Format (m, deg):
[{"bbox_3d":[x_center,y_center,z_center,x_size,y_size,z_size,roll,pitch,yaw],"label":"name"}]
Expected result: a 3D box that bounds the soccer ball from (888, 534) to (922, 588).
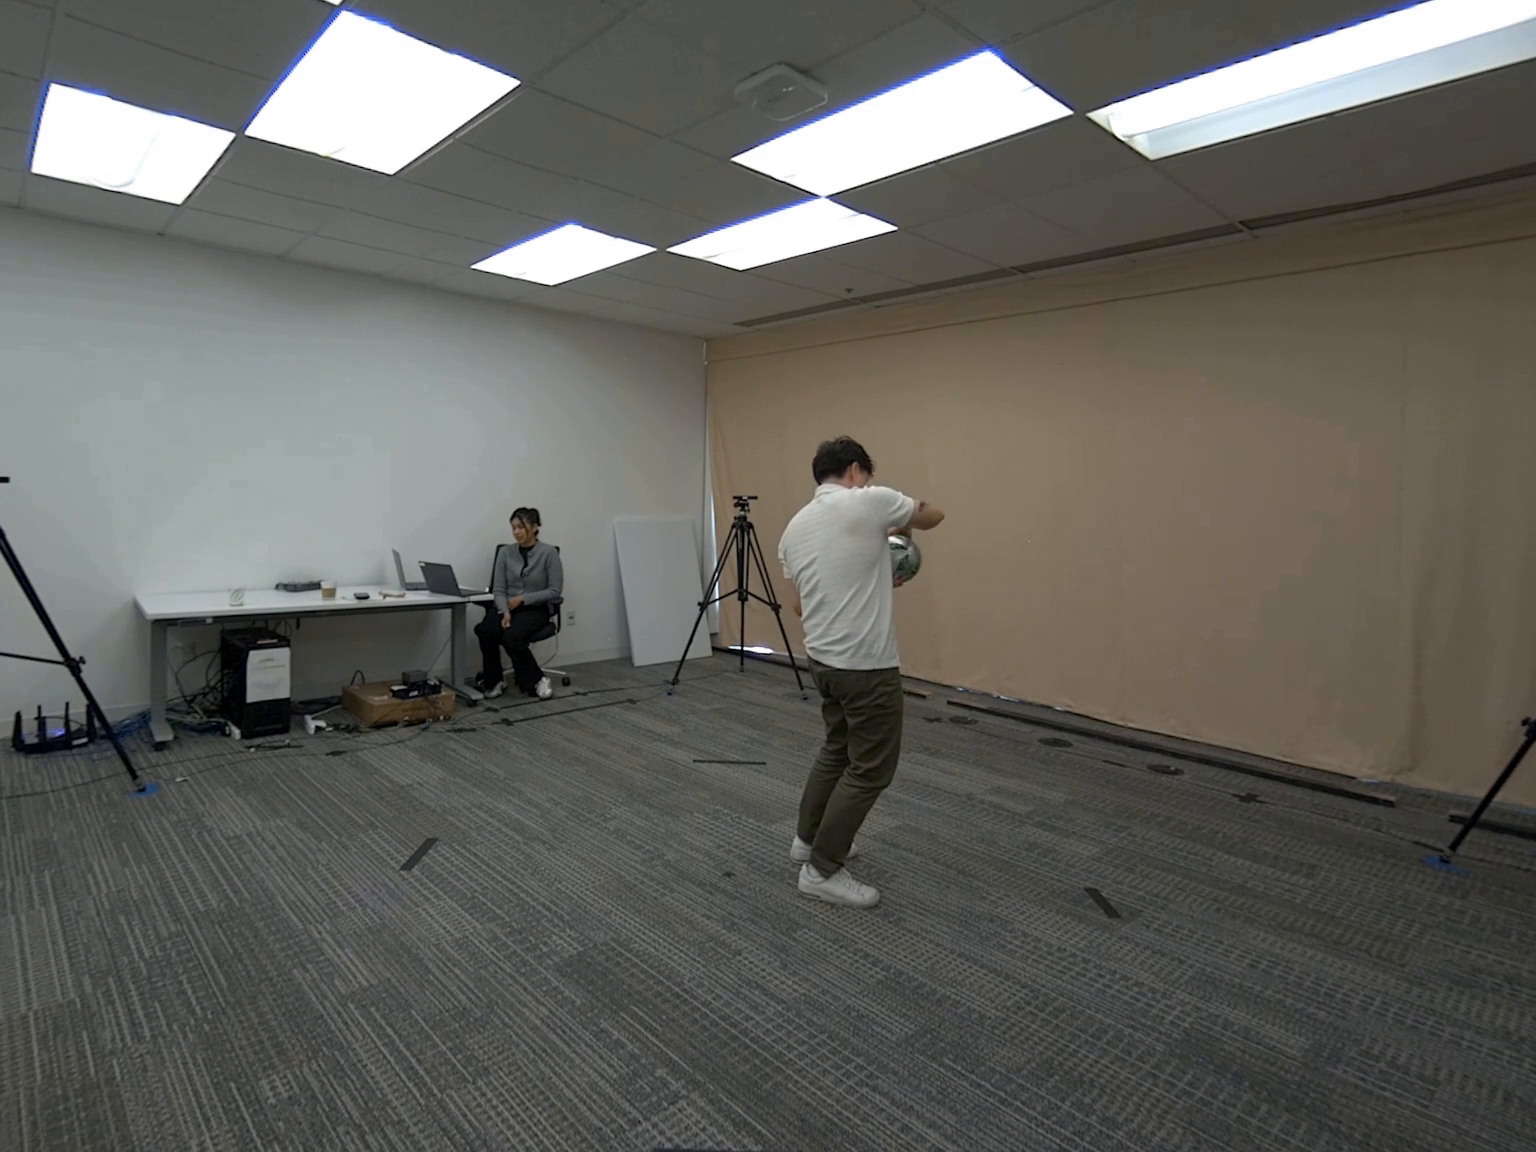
[{"bbox_3d":[0.475,-0.064,3.210,0.187,0.187,0.188,1,4,-1],"label":"soccer ball"}]
